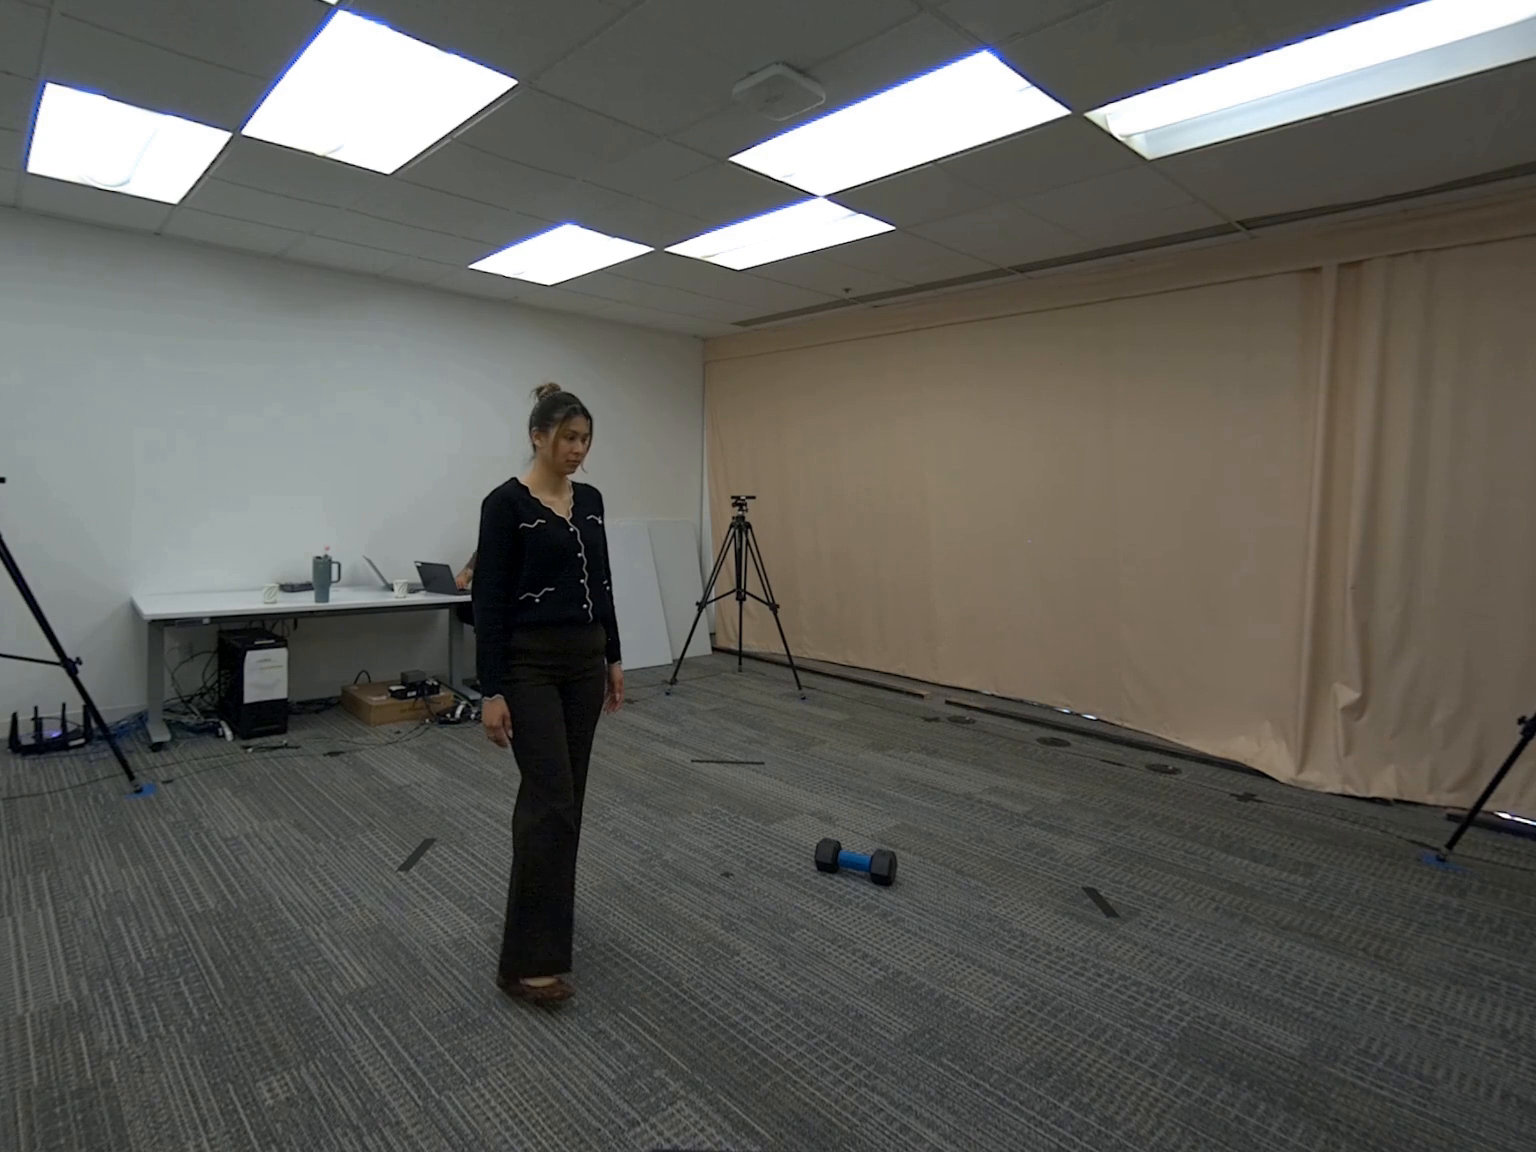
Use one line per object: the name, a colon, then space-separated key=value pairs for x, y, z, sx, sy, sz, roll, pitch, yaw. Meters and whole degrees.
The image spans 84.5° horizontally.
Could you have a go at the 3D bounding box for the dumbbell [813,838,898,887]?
dumbbell: x=0.317 y=1.054 z=3.115 sx=0.299 sy=0.108 sz=0.121 roll=4 pitch=7 yaw=25
